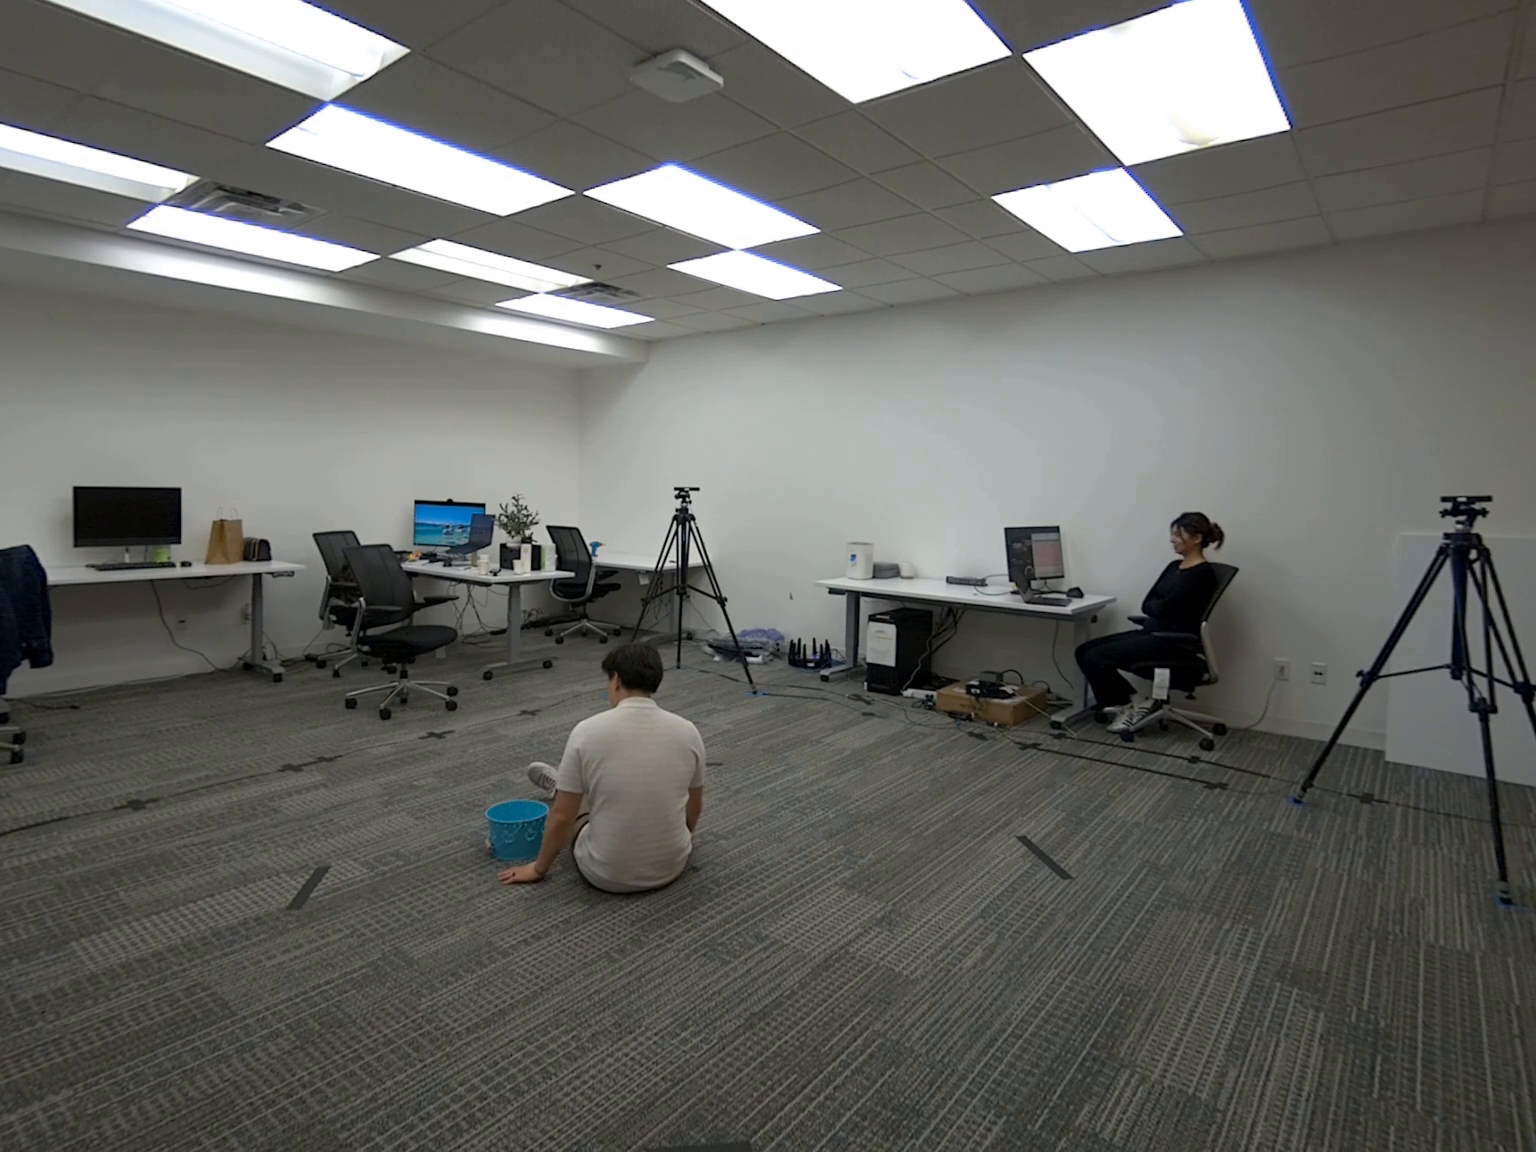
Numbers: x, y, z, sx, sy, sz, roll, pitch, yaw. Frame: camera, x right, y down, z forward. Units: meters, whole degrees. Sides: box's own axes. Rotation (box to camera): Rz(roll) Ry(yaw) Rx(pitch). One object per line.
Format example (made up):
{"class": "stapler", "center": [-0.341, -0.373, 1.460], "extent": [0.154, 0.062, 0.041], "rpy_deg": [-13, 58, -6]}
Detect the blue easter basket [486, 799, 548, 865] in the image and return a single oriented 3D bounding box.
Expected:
{"class": "blue easter basket", "center": [-0.972, 0.965, 3.243], "extent": [0.243, 0.155, 0.245], "rpy_deg": [0, 5, -2]}
